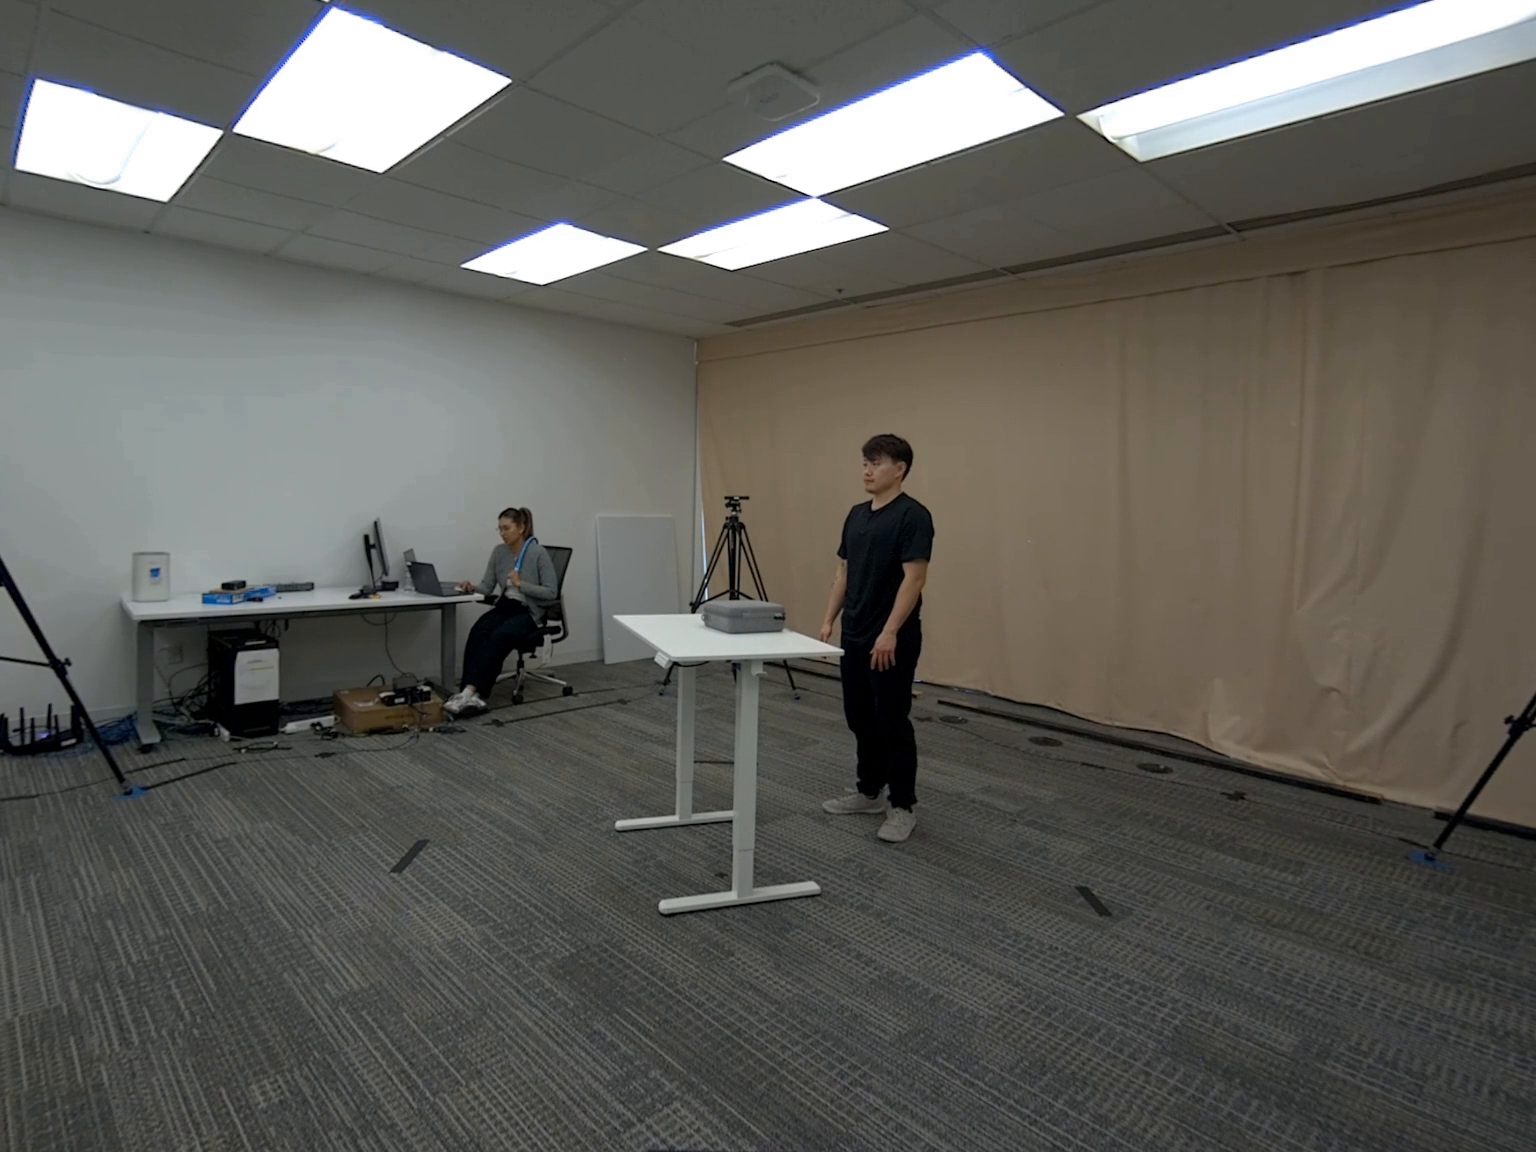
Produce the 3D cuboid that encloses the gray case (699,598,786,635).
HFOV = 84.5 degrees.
[{"bbox_3d":[-0.106,0.155,3.292,0.252,0.104,0.266,-2,5,-29],"label":"gray case"}]
